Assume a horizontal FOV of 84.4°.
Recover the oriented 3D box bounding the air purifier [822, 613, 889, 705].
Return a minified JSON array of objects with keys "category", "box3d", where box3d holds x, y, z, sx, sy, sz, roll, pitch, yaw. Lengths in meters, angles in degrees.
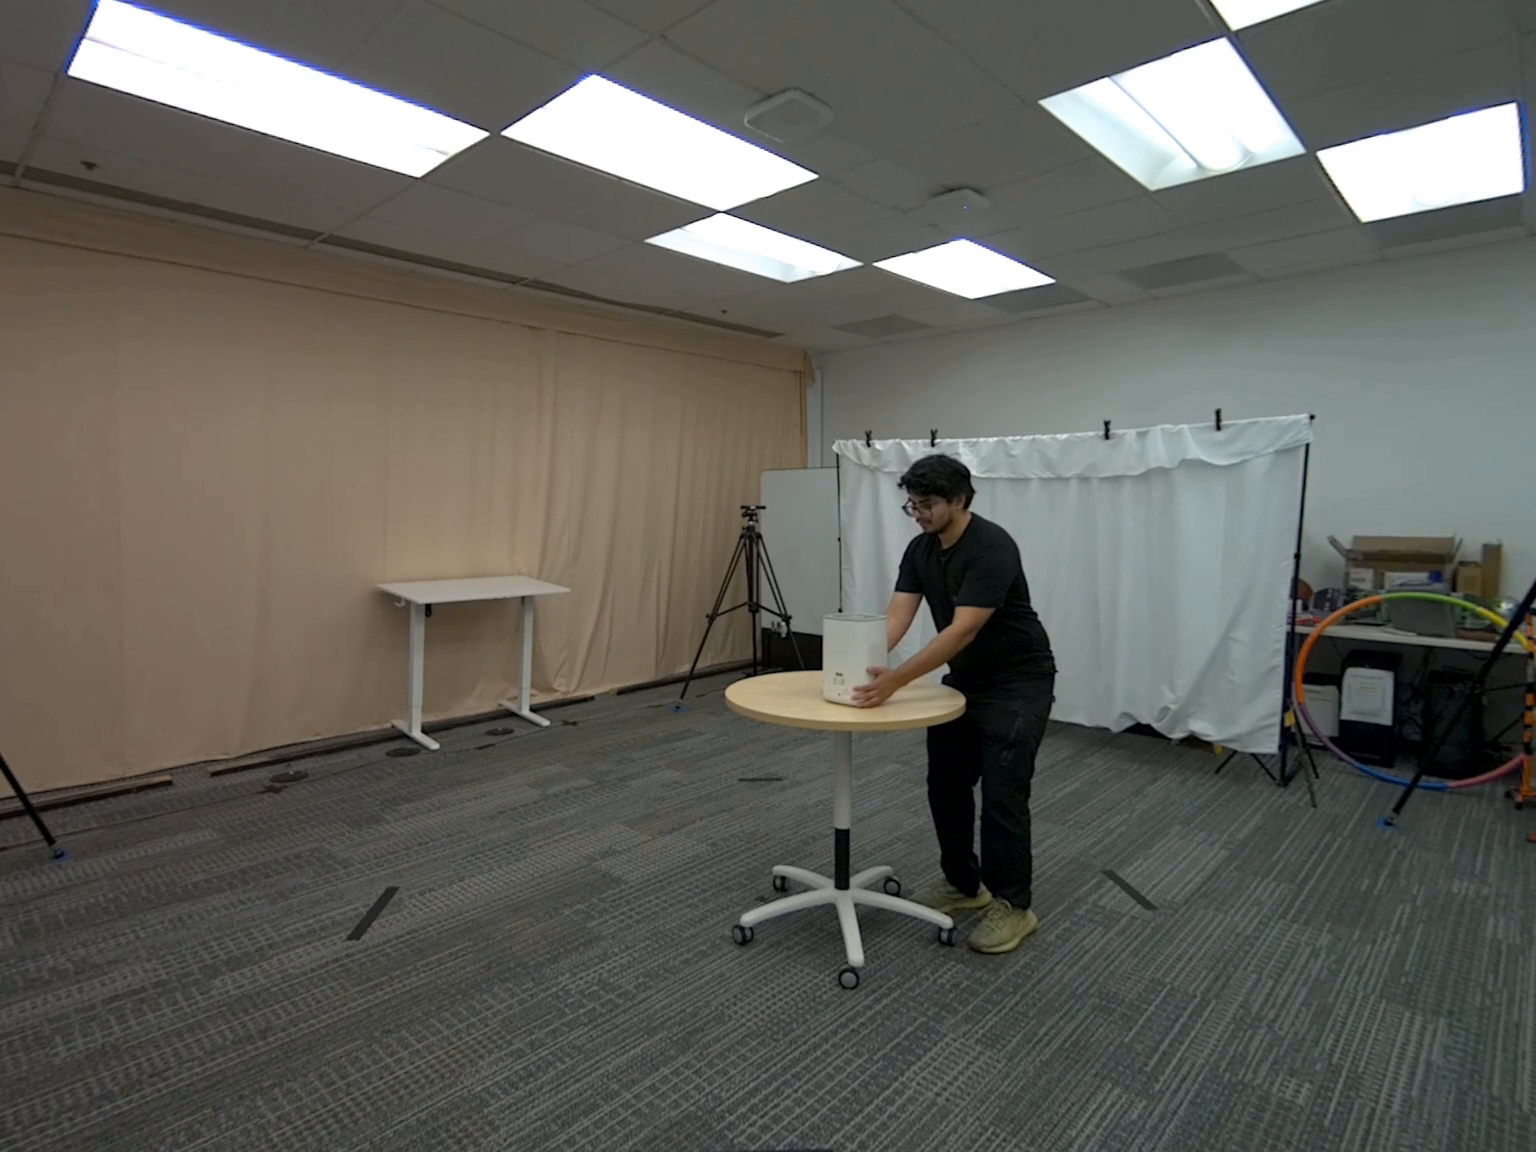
[{"category":"air purifier","box3d":[0.277,0.258,2.609,0.176,0.265,0.166,2,5,37]}]
